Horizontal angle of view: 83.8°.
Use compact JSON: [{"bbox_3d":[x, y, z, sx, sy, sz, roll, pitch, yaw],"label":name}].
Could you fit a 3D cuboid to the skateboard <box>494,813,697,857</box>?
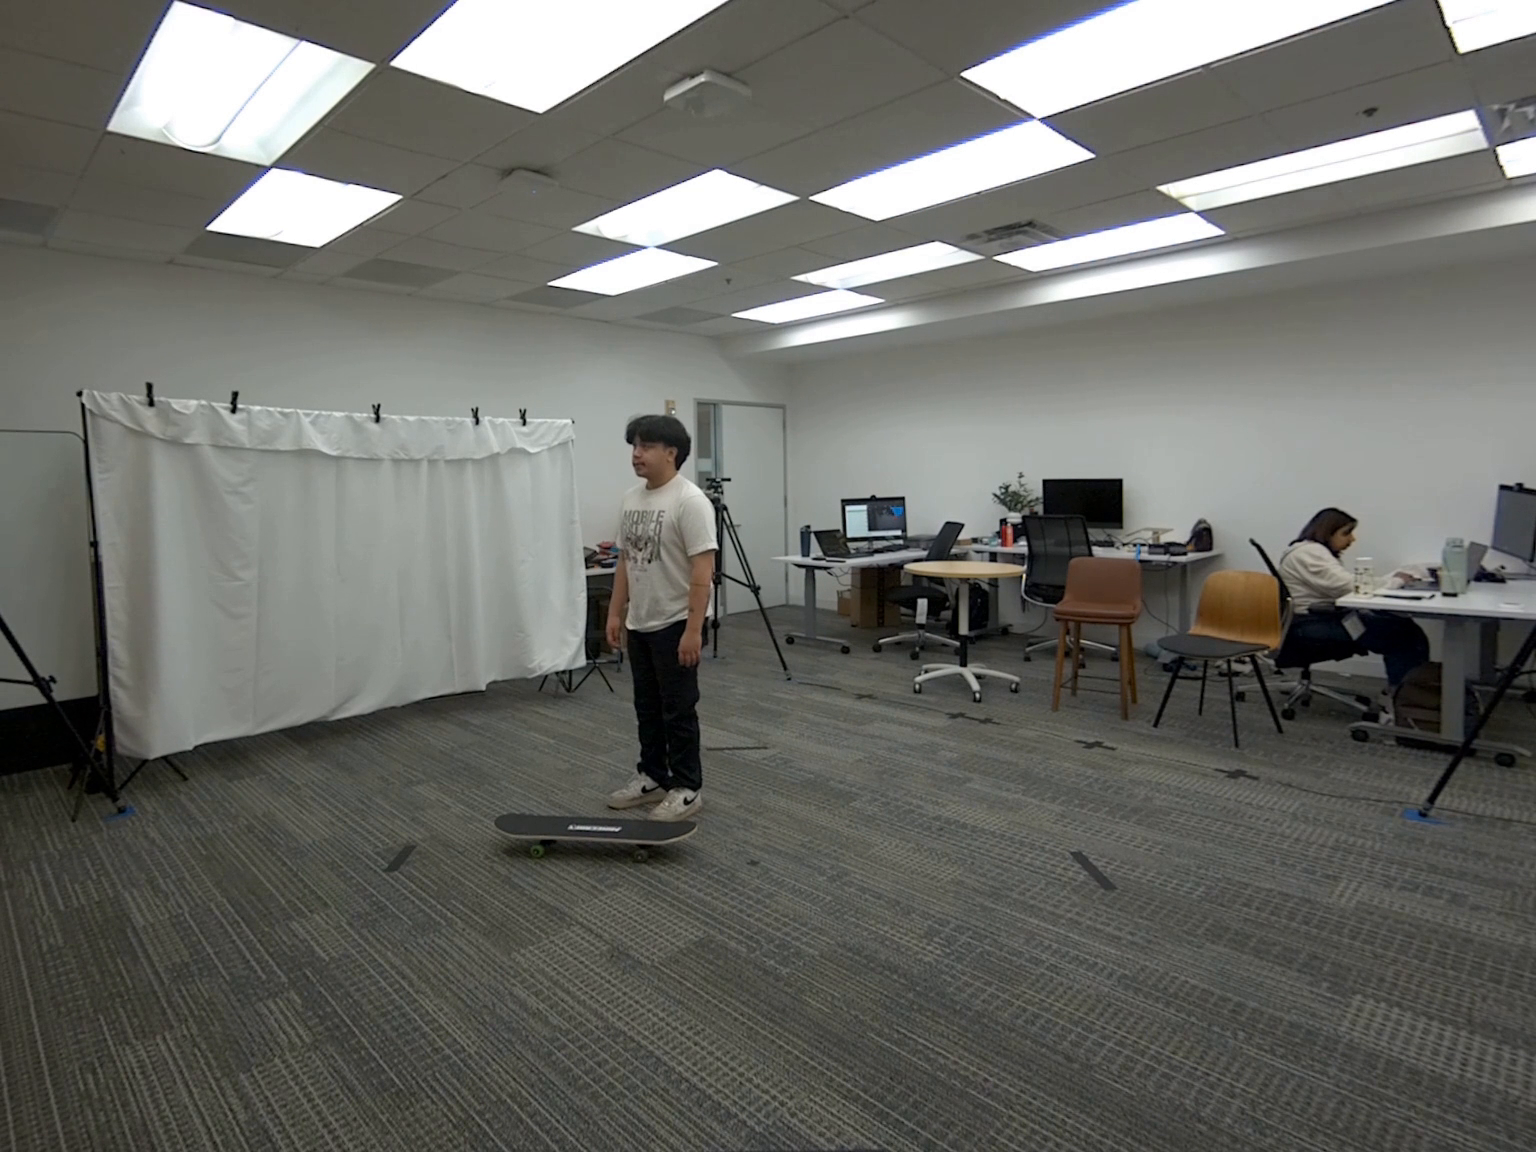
[{"bbox_3d":[-0.652,0.984,3.224,0.793,0.110,0.192,0,6,9],"label":"skateboard"}]
